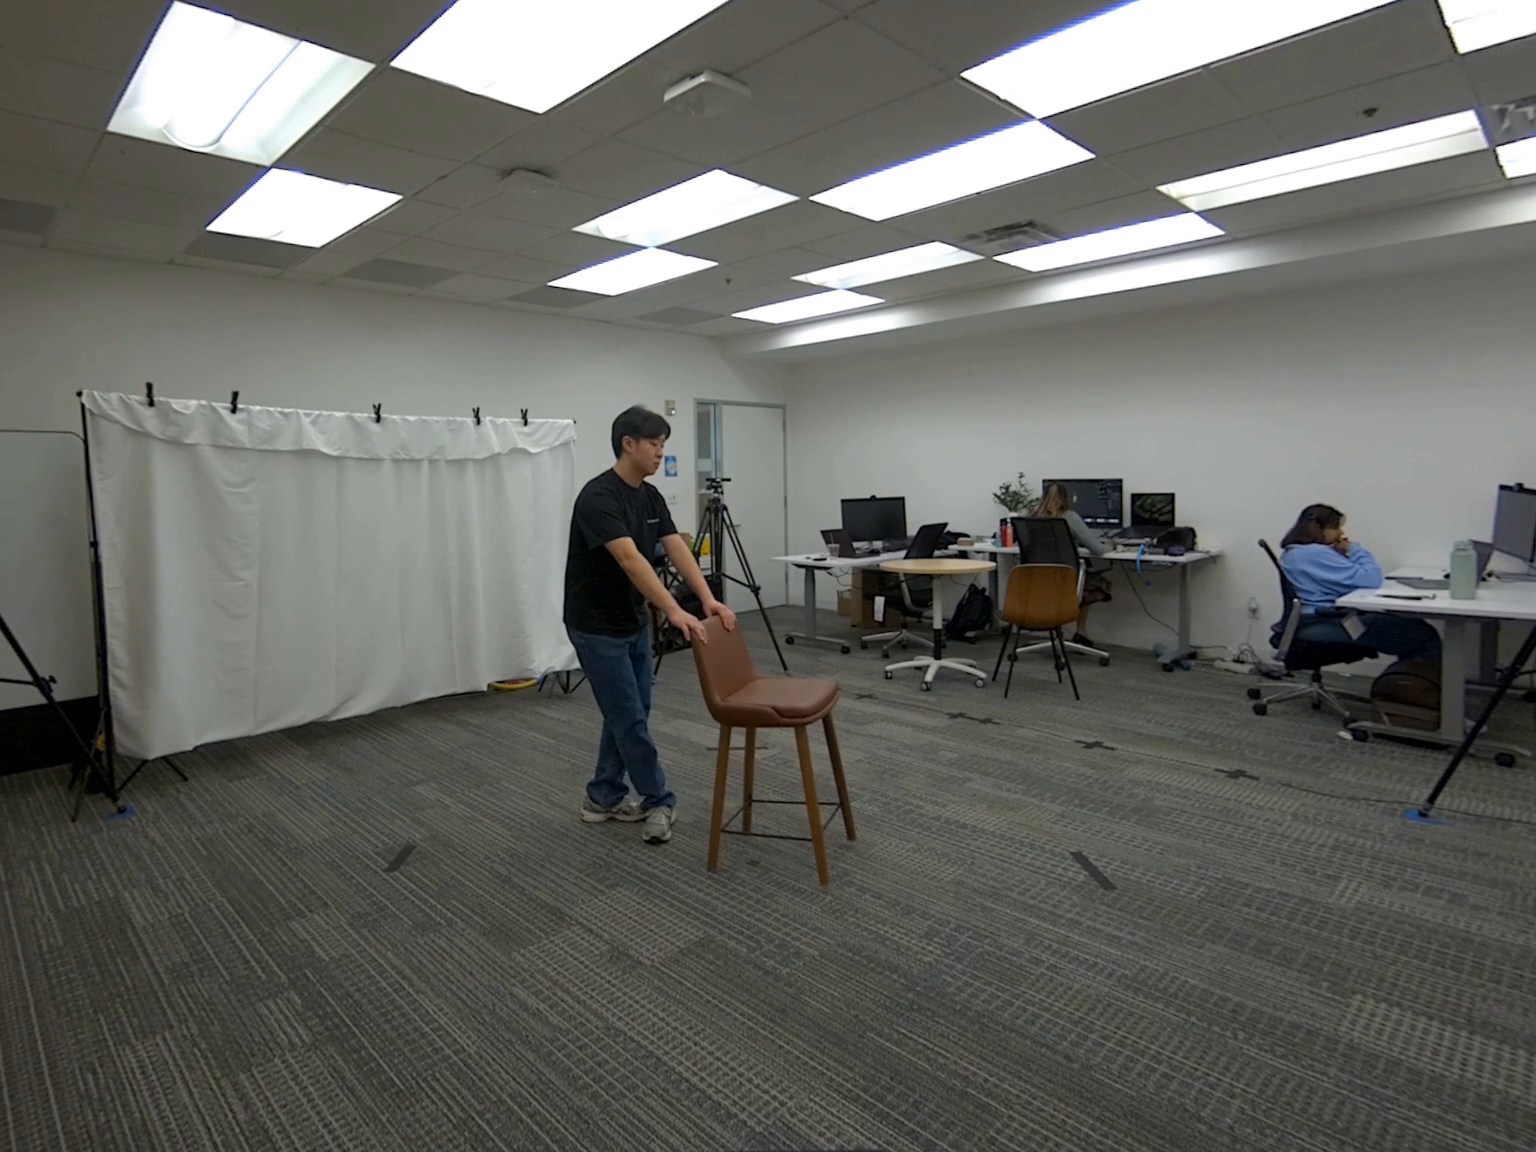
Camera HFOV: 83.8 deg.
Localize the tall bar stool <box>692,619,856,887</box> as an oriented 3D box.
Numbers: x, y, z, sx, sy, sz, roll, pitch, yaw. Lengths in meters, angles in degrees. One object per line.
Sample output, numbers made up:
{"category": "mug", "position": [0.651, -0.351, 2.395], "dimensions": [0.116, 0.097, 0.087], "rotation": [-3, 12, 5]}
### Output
{"category": "tall bar stool", "position": [0.020, 0.592, 3.117], "dimensions": [0.476, 0.888, 0.449], "rotation": [-5, 2, 22]}
